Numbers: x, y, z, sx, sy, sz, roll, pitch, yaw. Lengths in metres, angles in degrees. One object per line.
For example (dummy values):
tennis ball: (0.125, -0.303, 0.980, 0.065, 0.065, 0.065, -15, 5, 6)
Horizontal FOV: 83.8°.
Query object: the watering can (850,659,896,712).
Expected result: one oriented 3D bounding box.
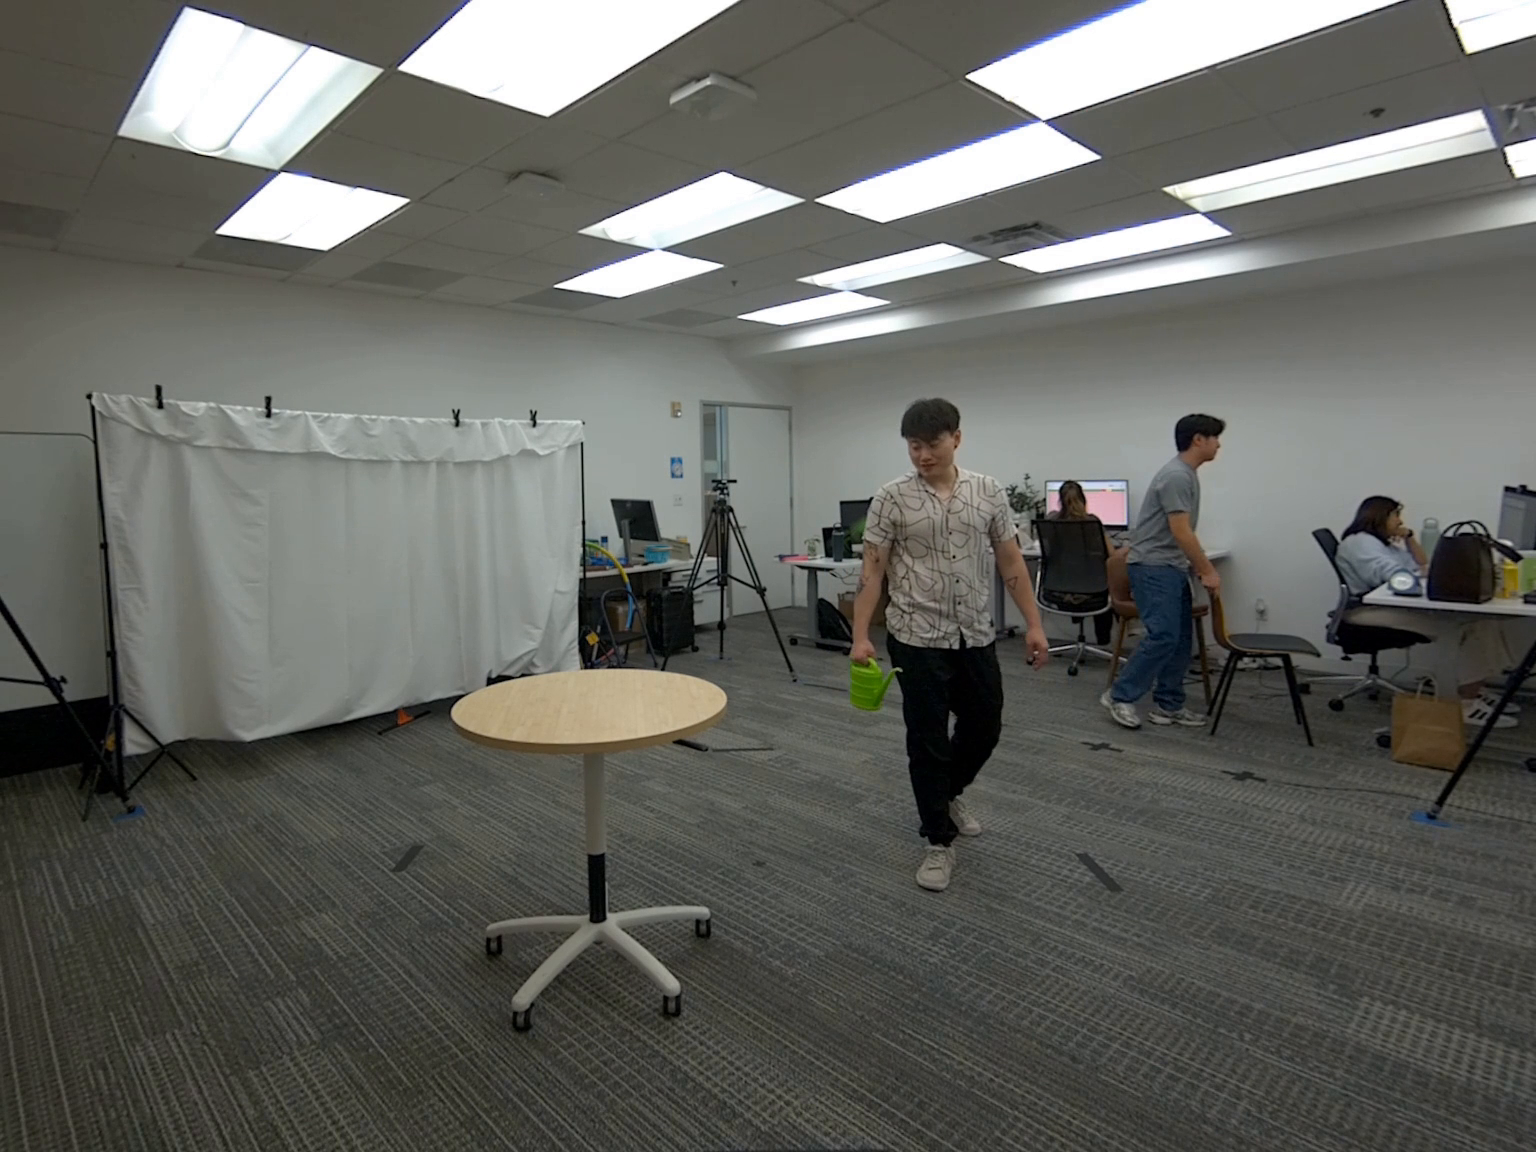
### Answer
watering can: (0.354, 0.365, 2.911, 0.097, 0.176, 0.283, -2, 7, -13)
